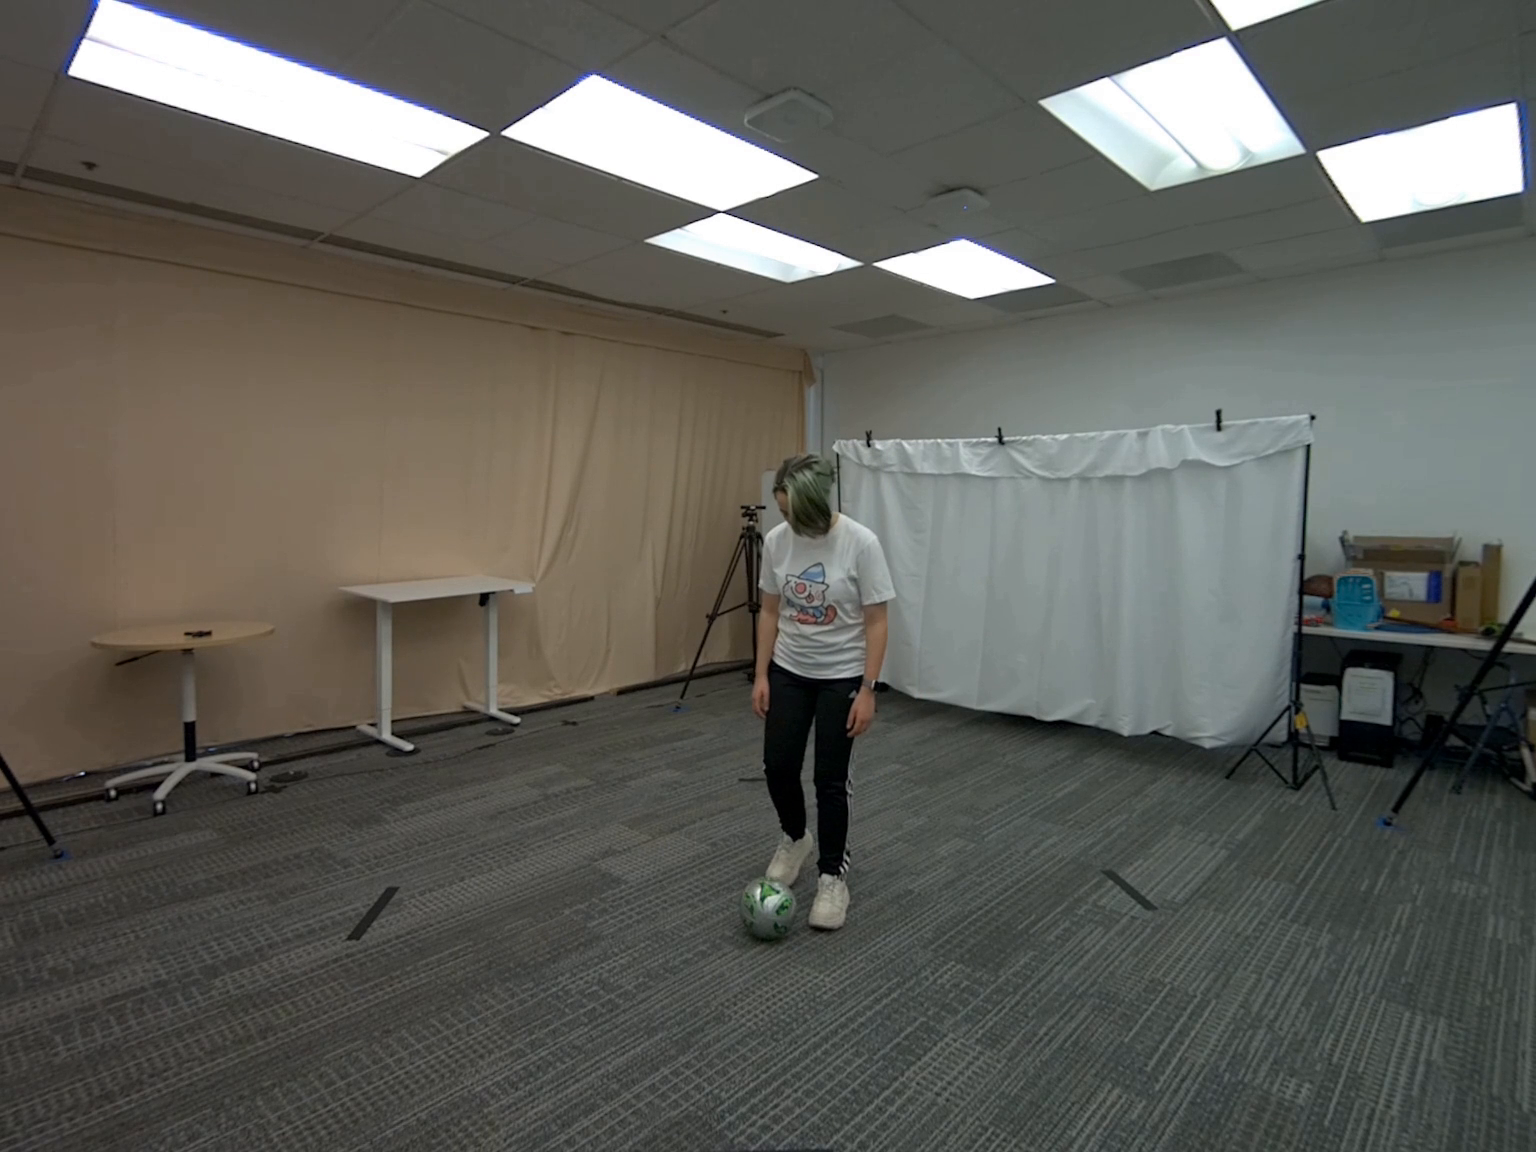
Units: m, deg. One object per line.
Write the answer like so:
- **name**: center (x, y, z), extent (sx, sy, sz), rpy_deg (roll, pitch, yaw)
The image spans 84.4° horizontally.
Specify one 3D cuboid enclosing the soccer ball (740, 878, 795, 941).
- **soccer ball**: center (0.001, 1.073, 2.723), extent (0.187, 0.187, 0.188), rpy_deg (0, 4, -2)
